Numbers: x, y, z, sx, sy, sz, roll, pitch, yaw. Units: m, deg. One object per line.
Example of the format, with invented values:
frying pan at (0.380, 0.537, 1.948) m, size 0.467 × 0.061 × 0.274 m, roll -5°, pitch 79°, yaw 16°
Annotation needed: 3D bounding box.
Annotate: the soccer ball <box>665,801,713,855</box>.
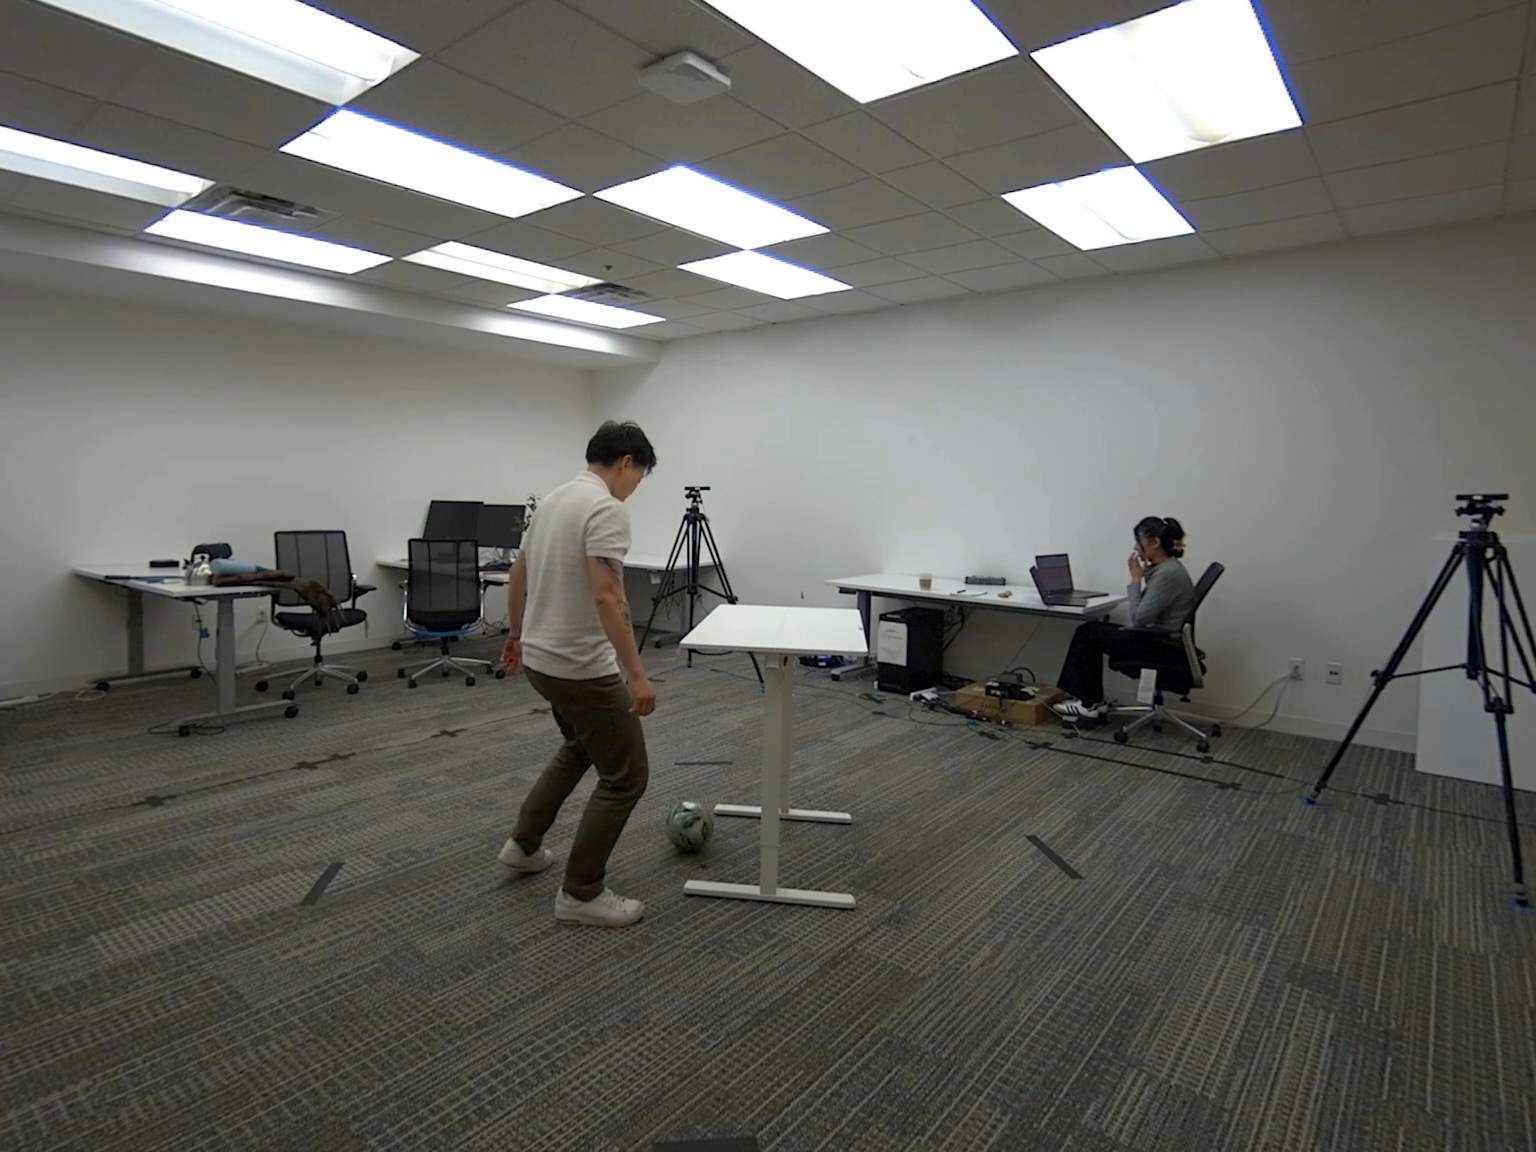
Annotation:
soccer ball at (-0.311, 0.951, 3.266) m, size 0.187 × 0.187 × 0.188 m, roll 1°, pitch 4°, yaw -2°
